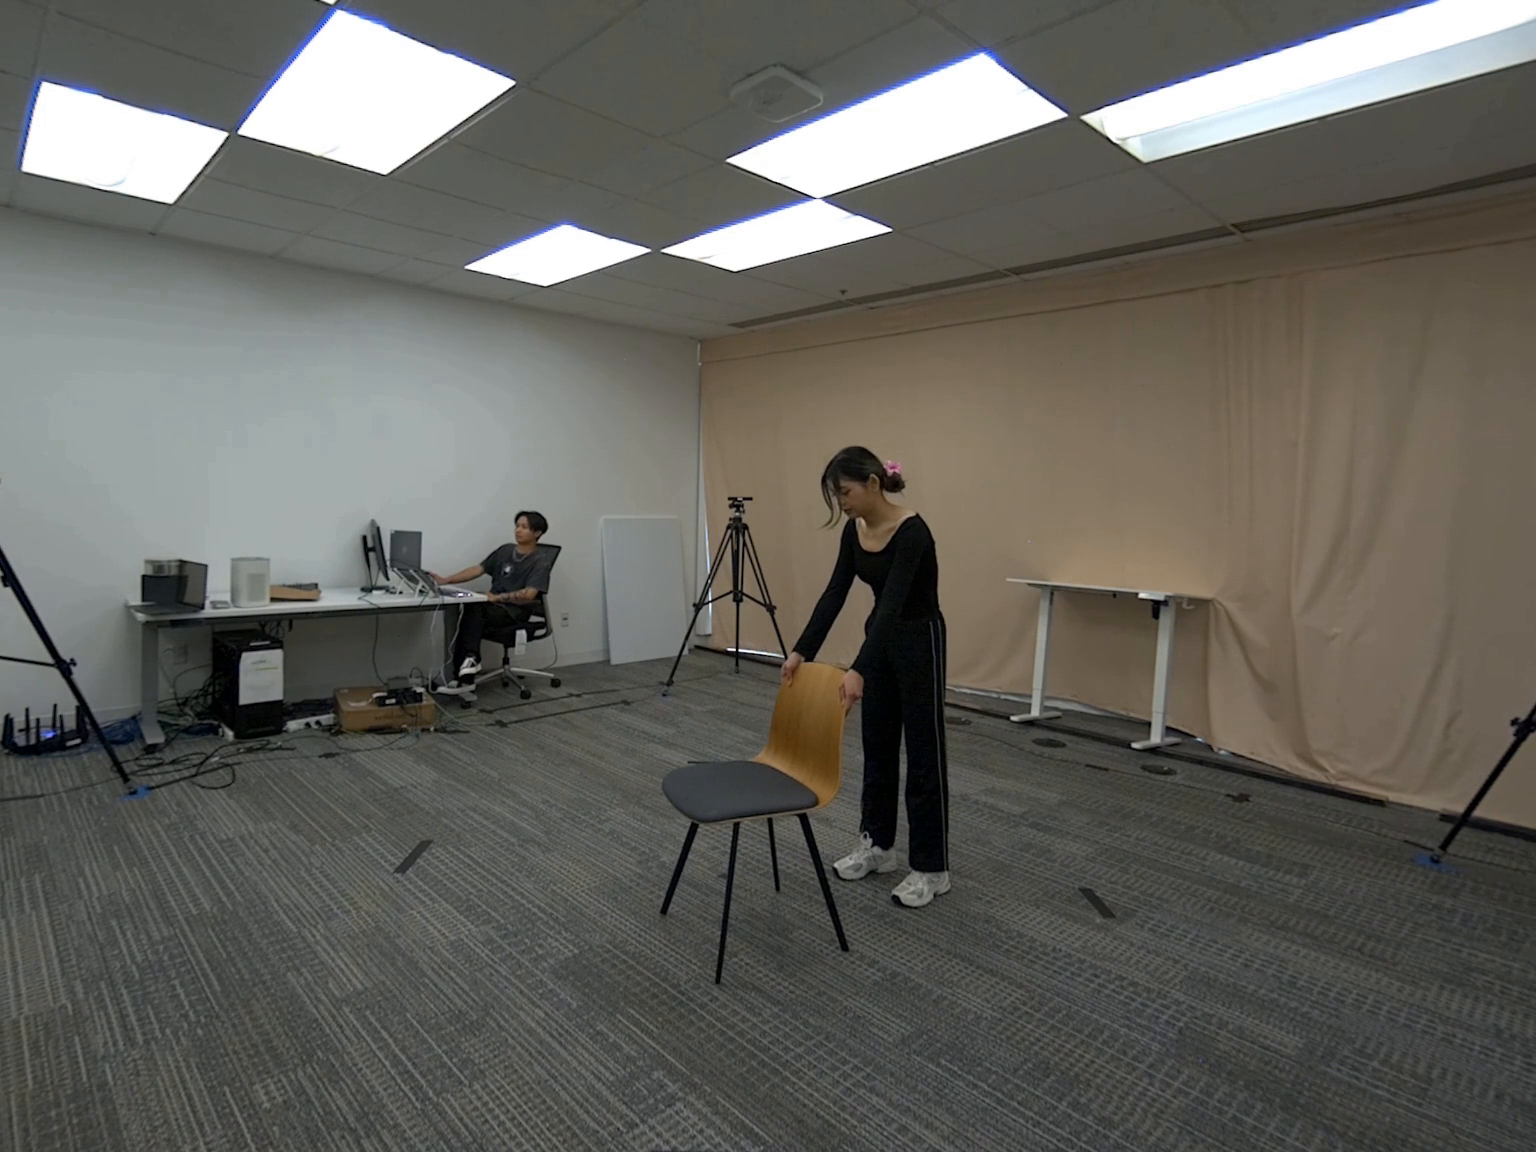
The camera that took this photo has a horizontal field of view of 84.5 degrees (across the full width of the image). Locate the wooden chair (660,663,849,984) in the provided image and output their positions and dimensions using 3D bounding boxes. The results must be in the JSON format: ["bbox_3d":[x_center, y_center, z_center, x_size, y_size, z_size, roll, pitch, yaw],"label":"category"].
[{"bbox_3d":[-0.049,0.721,2.673,0.512,0.877,0.488,5,2,-28],"label":"wooden chair"}]
